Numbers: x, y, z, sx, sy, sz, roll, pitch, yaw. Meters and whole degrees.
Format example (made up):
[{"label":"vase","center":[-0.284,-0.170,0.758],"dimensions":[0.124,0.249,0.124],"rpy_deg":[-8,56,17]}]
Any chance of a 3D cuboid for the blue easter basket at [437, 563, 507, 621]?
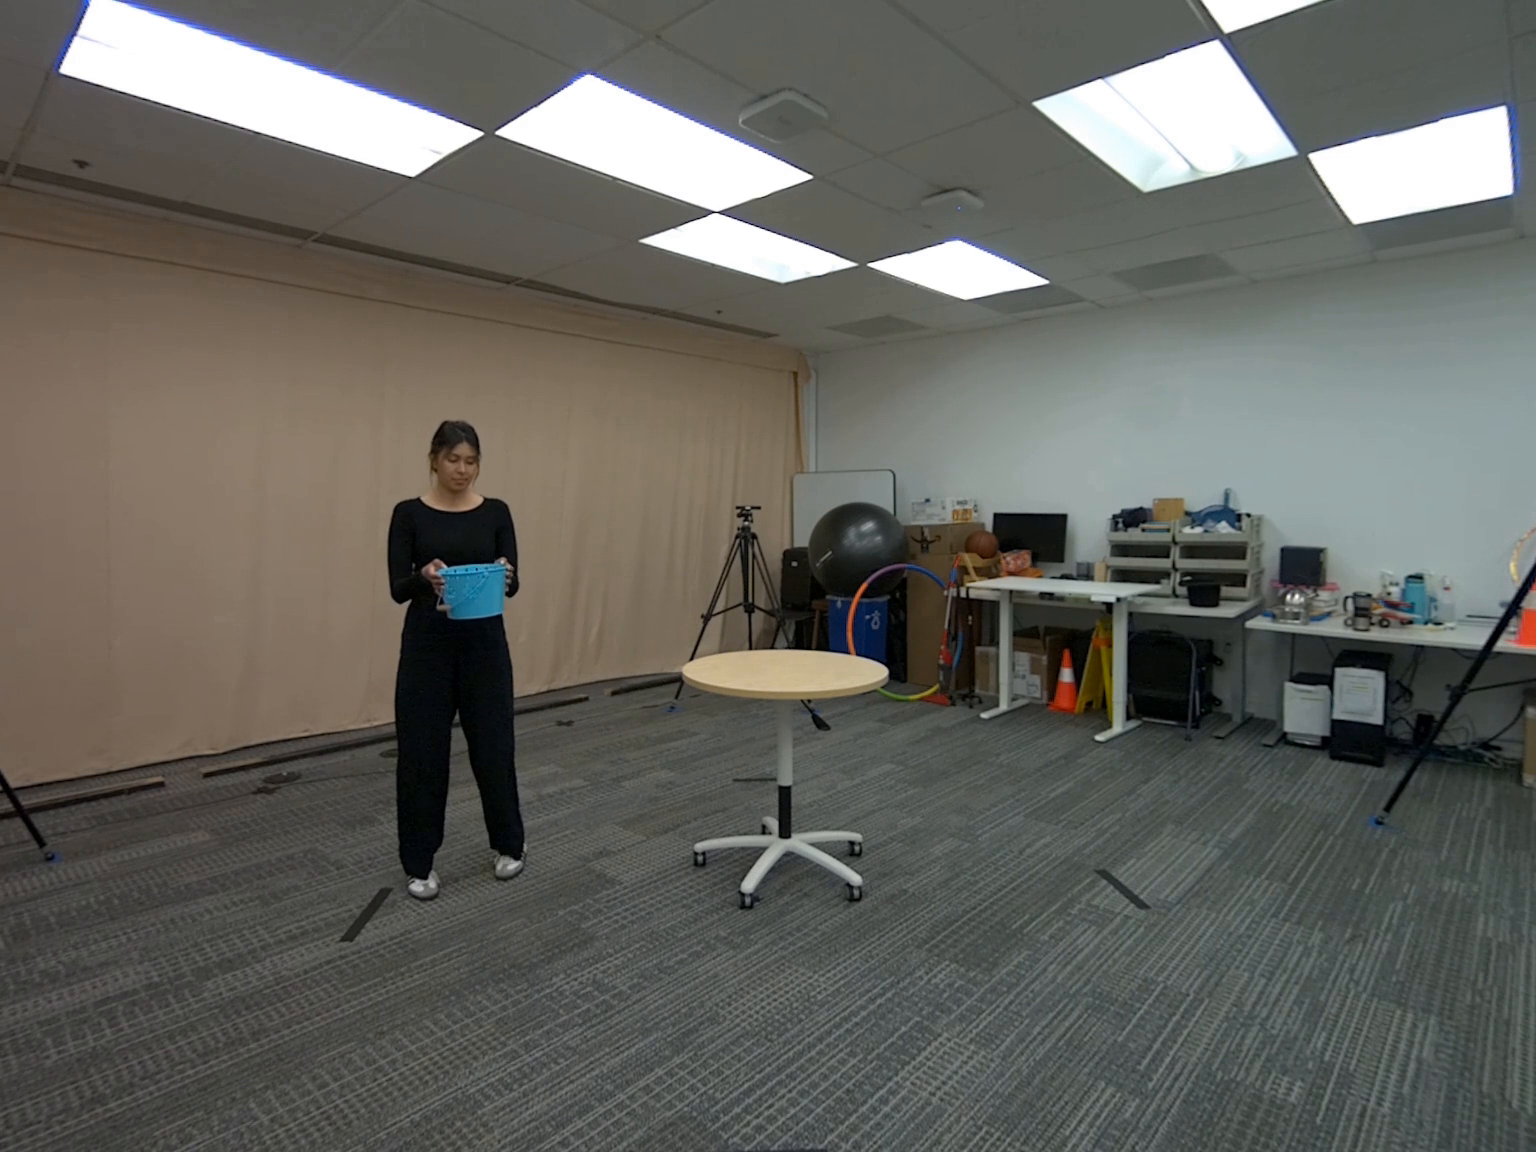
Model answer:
[{"label":"blue easter basket","center":[-0.984,0.053,2.791],"dimensions":[0.243,0.155,0.245],"rpy_deg":[-3,6,-2]}]
